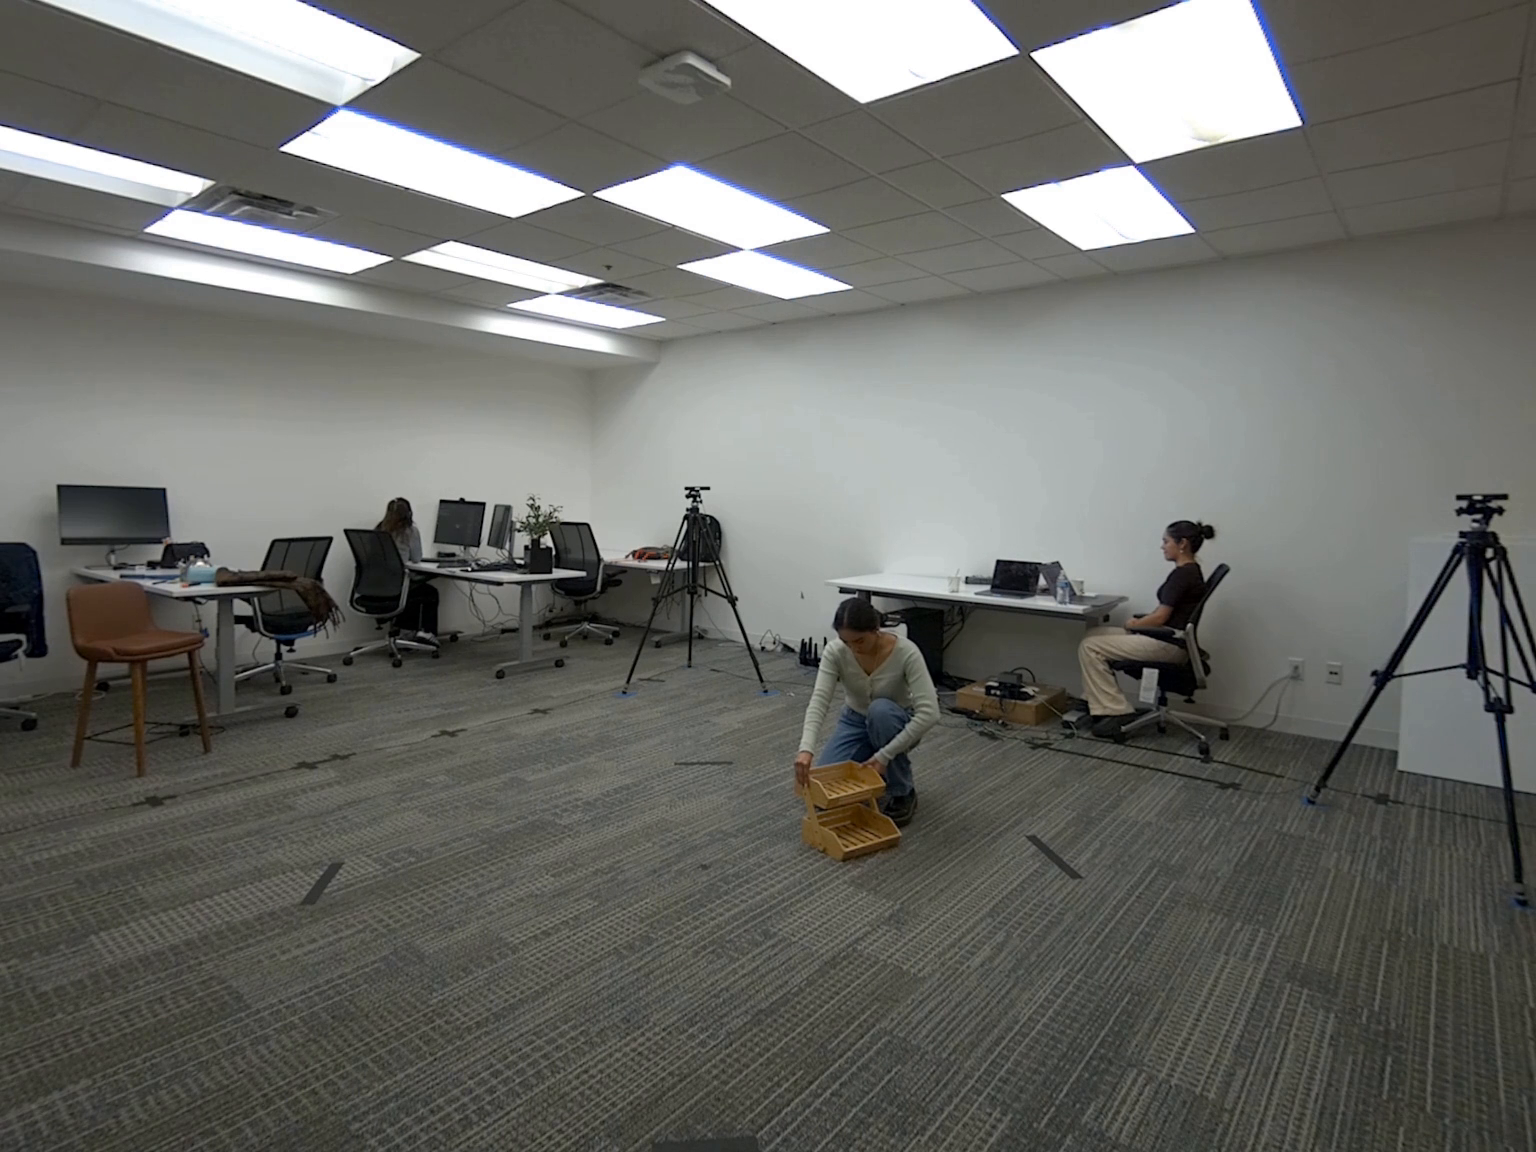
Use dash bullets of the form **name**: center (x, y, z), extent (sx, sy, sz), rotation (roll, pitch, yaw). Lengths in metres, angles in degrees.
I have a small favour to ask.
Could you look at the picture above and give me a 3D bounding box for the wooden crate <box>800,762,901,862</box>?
- **wooden crate**: center (0.312, 0.917, 3.365), extent (0.315, 0.272, 0.312), rotation (-2, 5, -35)
